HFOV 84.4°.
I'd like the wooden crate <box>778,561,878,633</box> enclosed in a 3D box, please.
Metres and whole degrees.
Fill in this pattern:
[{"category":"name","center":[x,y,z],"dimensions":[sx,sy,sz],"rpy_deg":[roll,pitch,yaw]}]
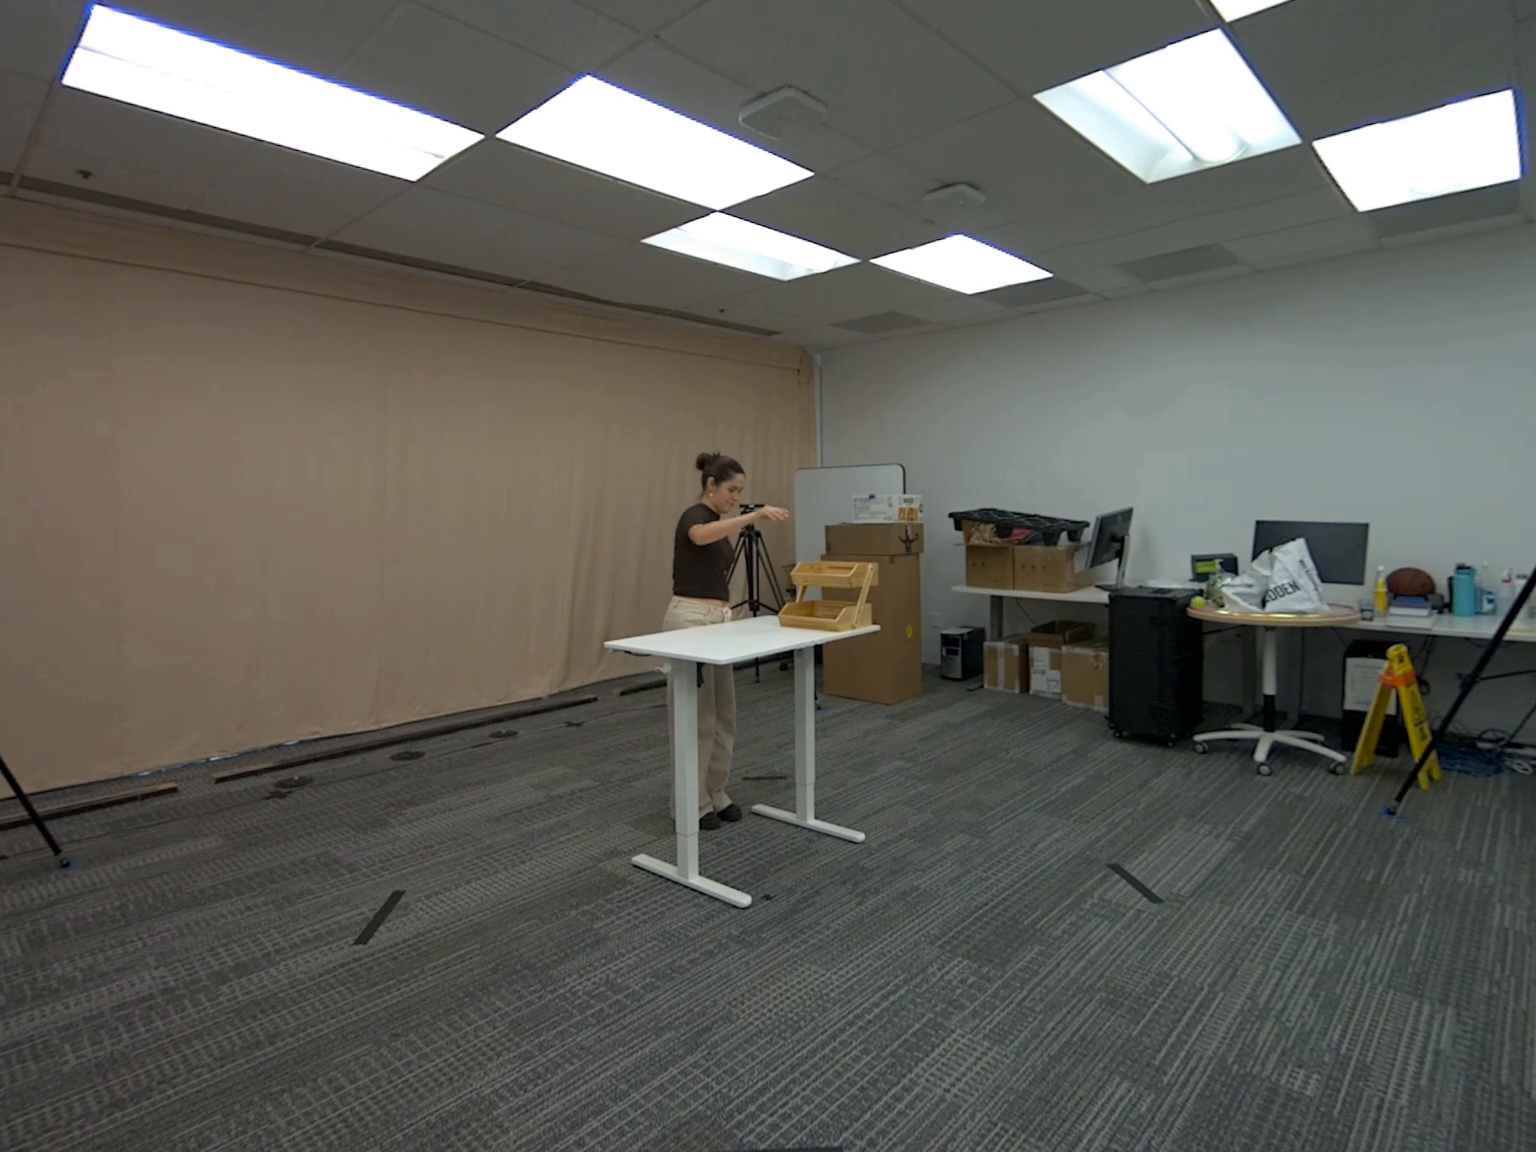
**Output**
[{"category":"wooden crate","center":[0.254,0.075,3.528],"dimensions":[0.335,0.273,0.293],"rpy_deg":[2,4,41]}]
